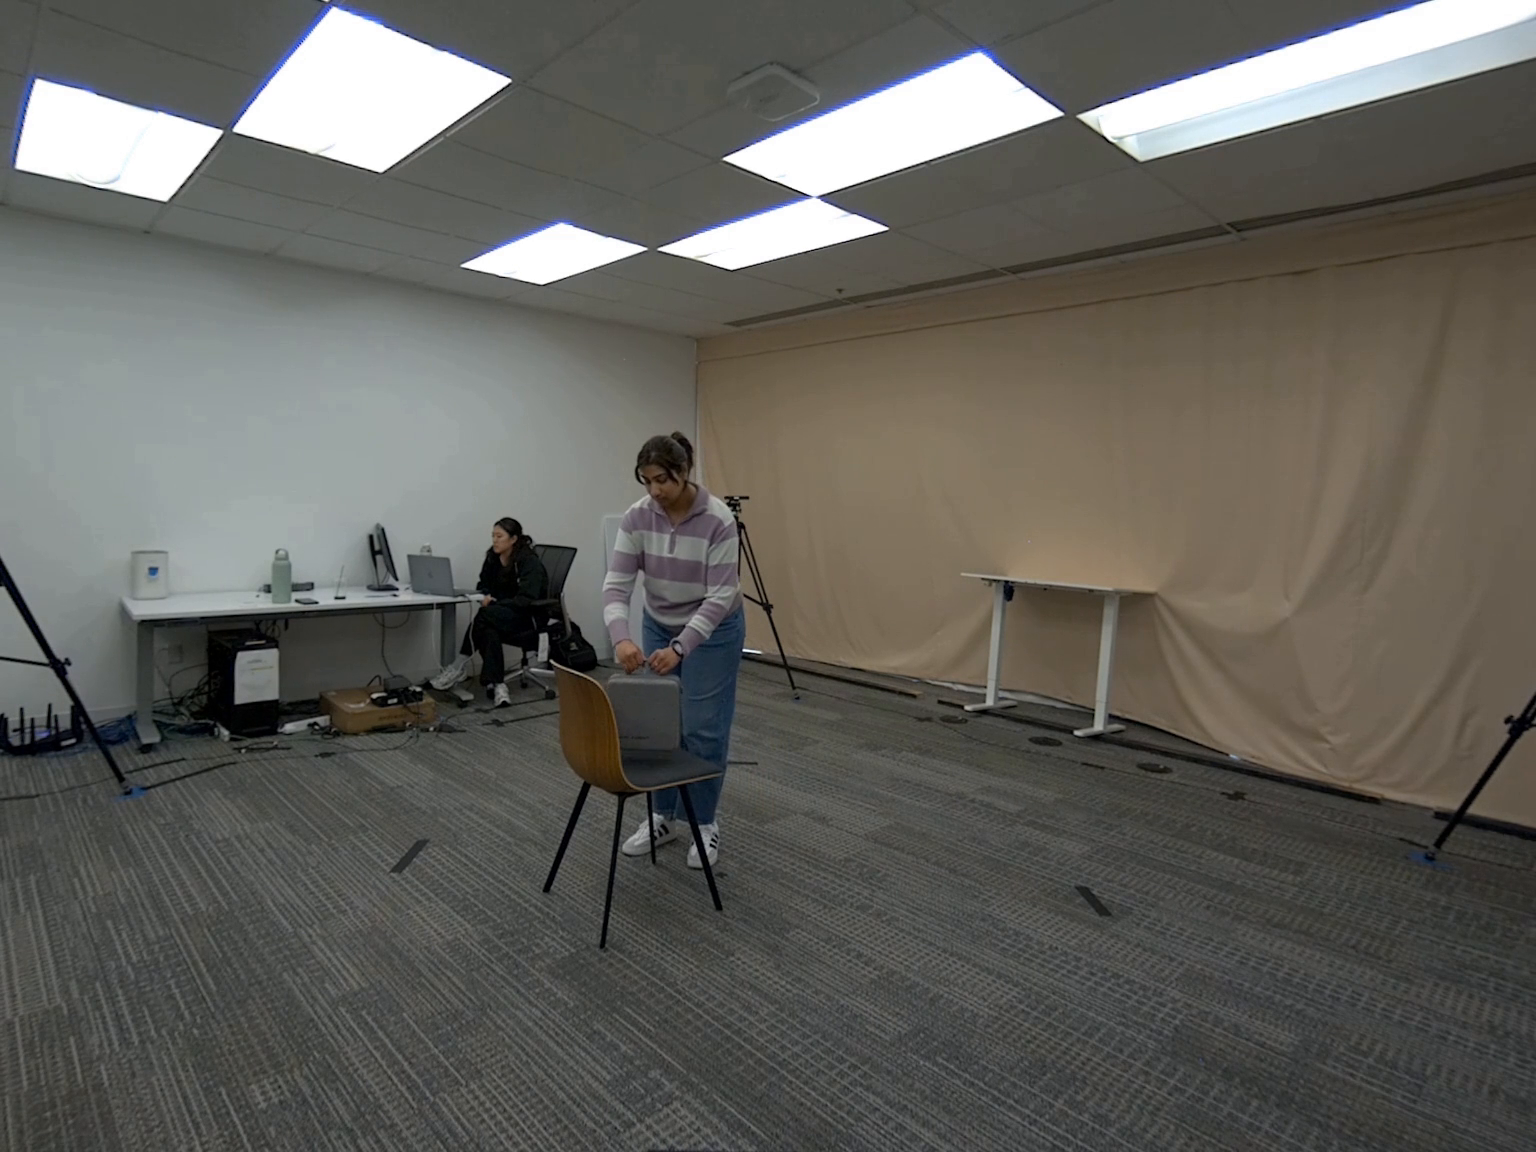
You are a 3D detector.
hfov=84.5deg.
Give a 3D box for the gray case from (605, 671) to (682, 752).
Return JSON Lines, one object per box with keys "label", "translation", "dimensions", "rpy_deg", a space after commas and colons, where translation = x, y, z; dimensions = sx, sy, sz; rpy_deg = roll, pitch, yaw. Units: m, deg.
{"label": "gray case", "translation": [-0.440, 0.458, 2.877], "dimensions": [0.257, 0.260, 0.105], "rpy_deg": [1, 5, -1]}
